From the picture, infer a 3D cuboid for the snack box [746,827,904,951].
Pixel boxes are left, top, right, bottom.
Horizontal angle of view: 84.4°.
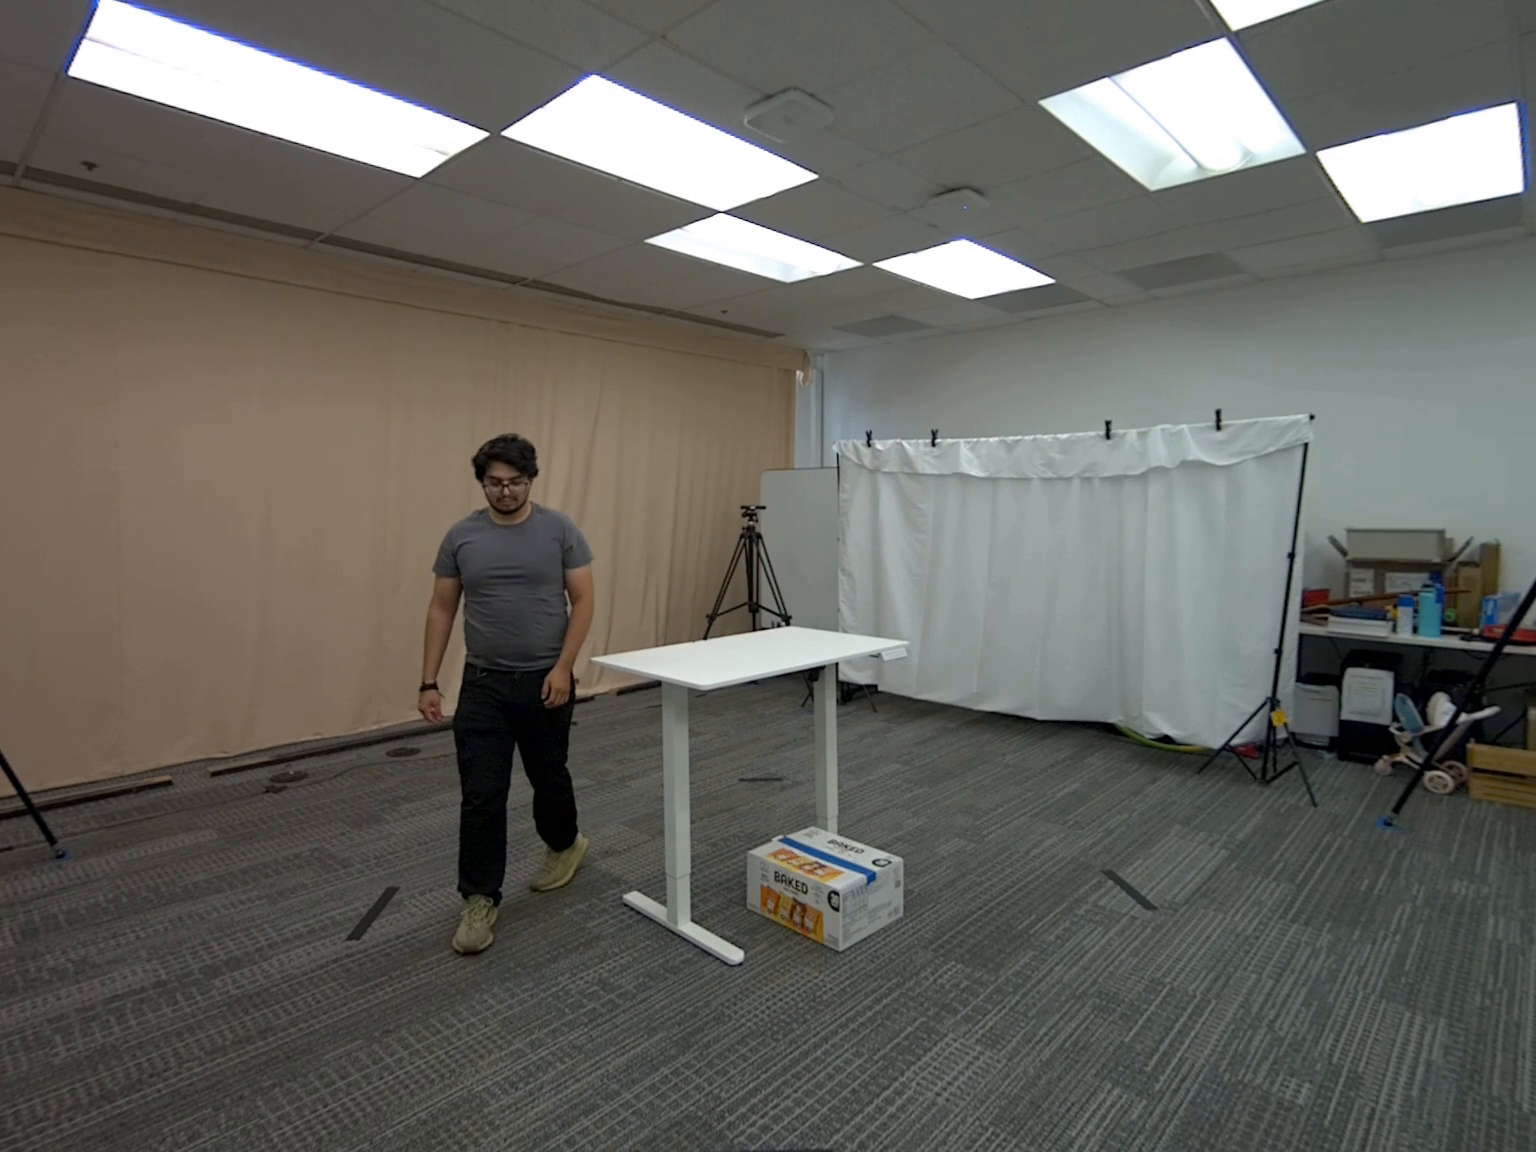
[{"bbox_3d":[0.197,1.055,2.864,0.419,0.205,0.330,4,6,45],"label":"snack box"}]
